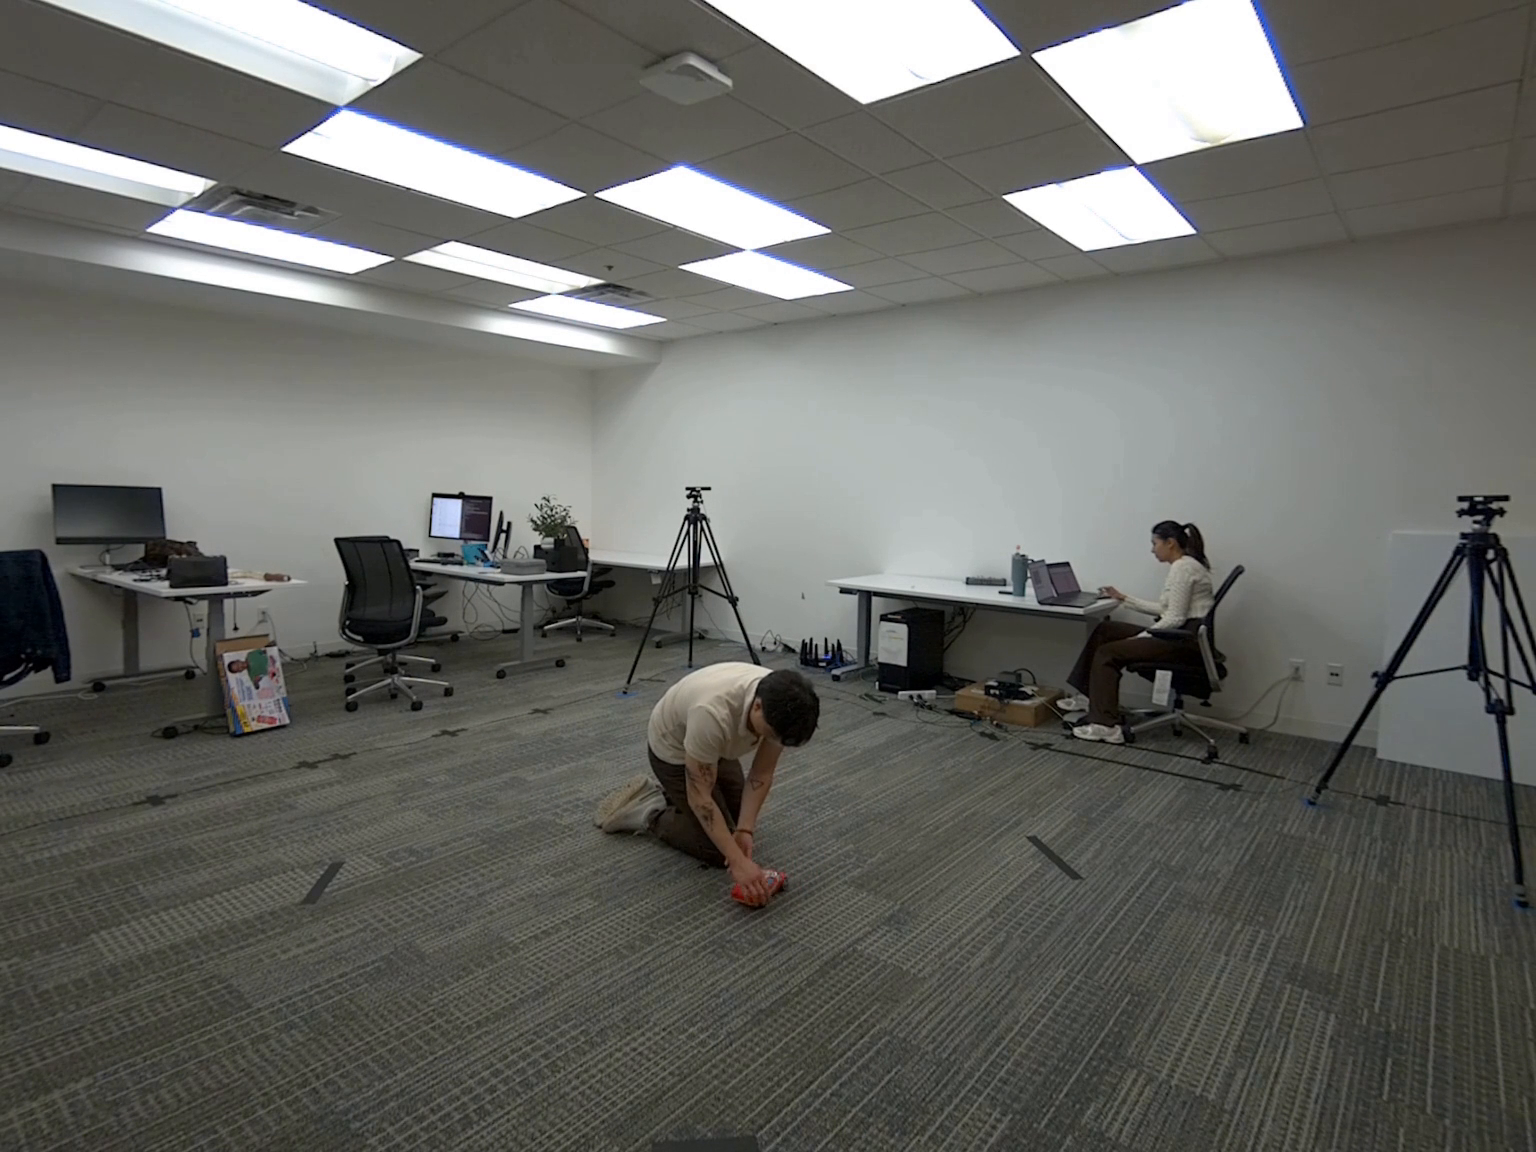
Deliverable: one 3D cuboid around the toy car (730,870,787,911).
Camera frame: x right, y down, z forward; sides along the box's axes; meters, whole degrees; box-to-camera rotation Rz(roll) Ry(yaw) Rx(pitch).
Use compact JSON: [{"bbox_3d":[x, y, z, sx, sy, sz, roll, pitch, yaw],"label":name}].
[{"bbox_3d":[-0.040,1.059,2.895,0.134,0.083,0.246,6,-5,32],"label":"toy car"}]
